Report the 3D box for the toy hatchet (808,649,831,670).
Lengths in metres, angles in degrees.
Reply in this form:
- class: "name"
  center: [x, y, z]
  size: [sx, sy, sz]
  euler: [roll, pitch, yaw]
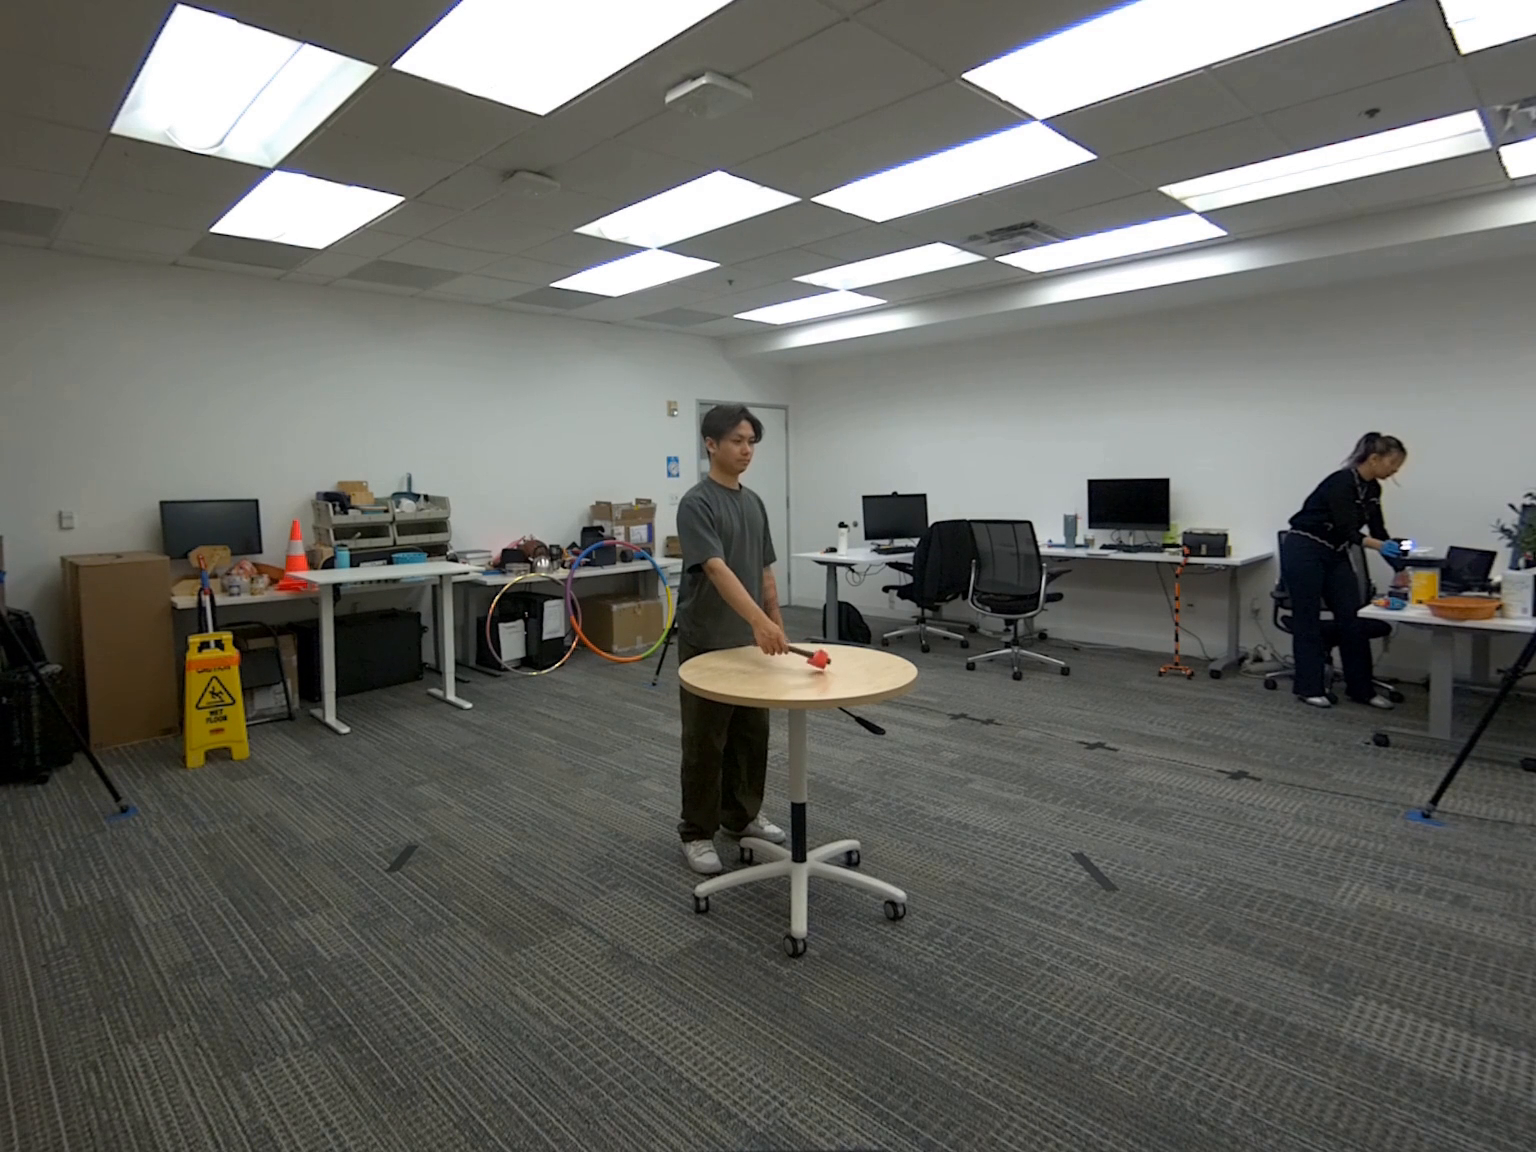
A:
- class: "toy hatchet"
  center: [0.071, 0.246, 2.731]
  size: [0.277, 0.030, 0.126]
  euler: [4, -29, 31]
